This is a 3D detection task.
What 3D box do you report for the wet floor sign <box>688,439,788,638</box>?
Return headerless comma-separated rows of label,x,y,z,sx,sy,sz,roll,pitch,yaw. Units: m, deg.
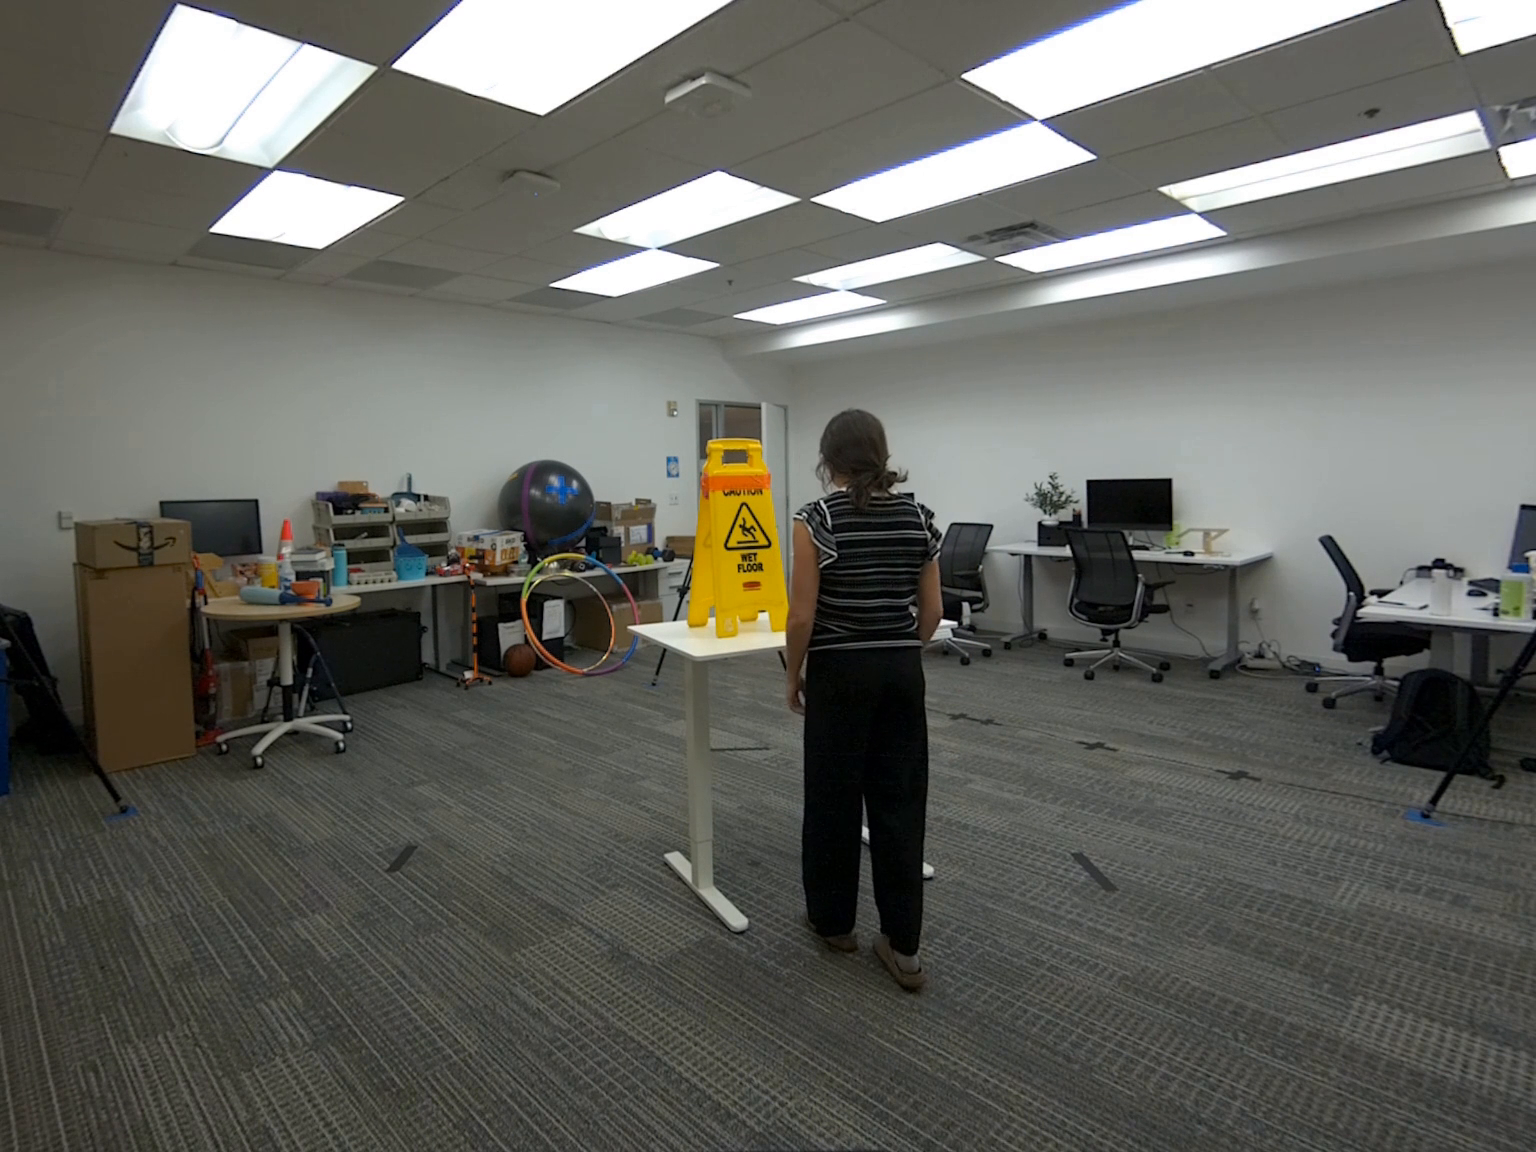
wet floor sign,-0.109,-0.141,2.931,0.276,0.644,0.297,-3,4,-28
